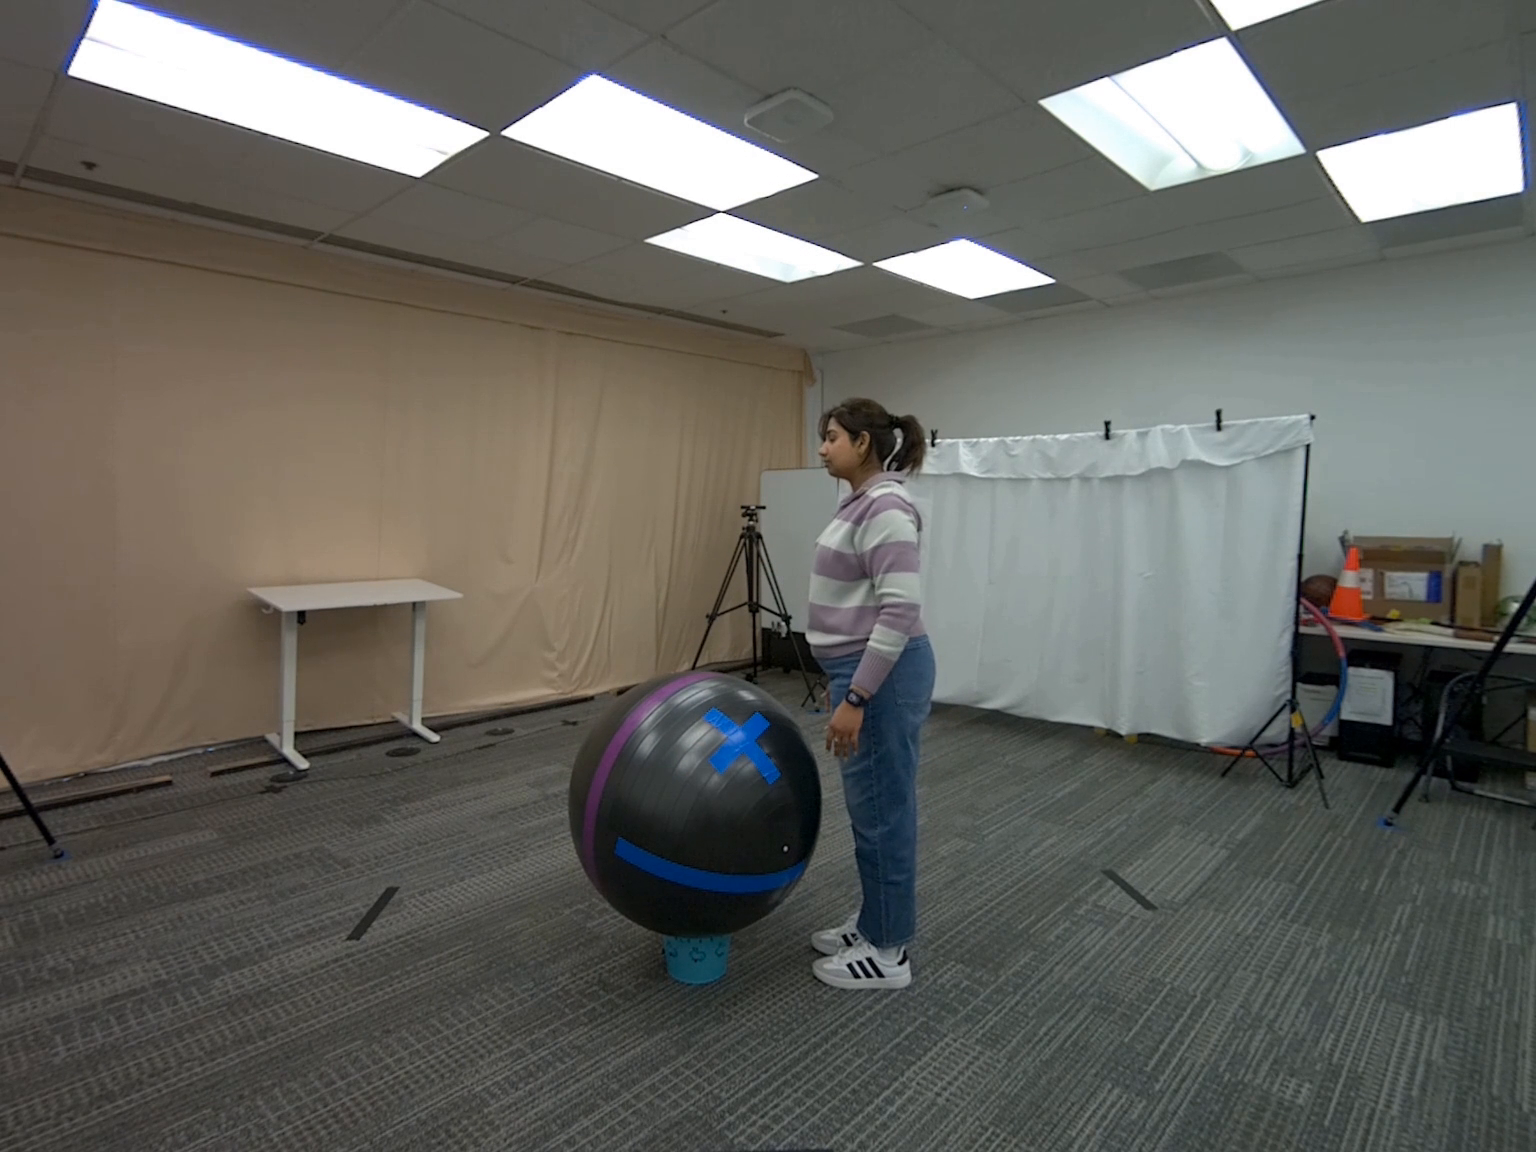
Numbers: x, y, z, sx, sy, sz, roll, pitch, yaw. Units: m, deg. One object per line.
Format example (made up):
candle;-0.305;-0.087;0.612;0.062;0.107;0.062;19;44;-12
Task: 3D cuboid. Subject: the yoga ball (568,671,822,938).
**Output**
yoga ball;-0.217;0.672;2.524;0.757;0.756;0.761;0;4;-2
